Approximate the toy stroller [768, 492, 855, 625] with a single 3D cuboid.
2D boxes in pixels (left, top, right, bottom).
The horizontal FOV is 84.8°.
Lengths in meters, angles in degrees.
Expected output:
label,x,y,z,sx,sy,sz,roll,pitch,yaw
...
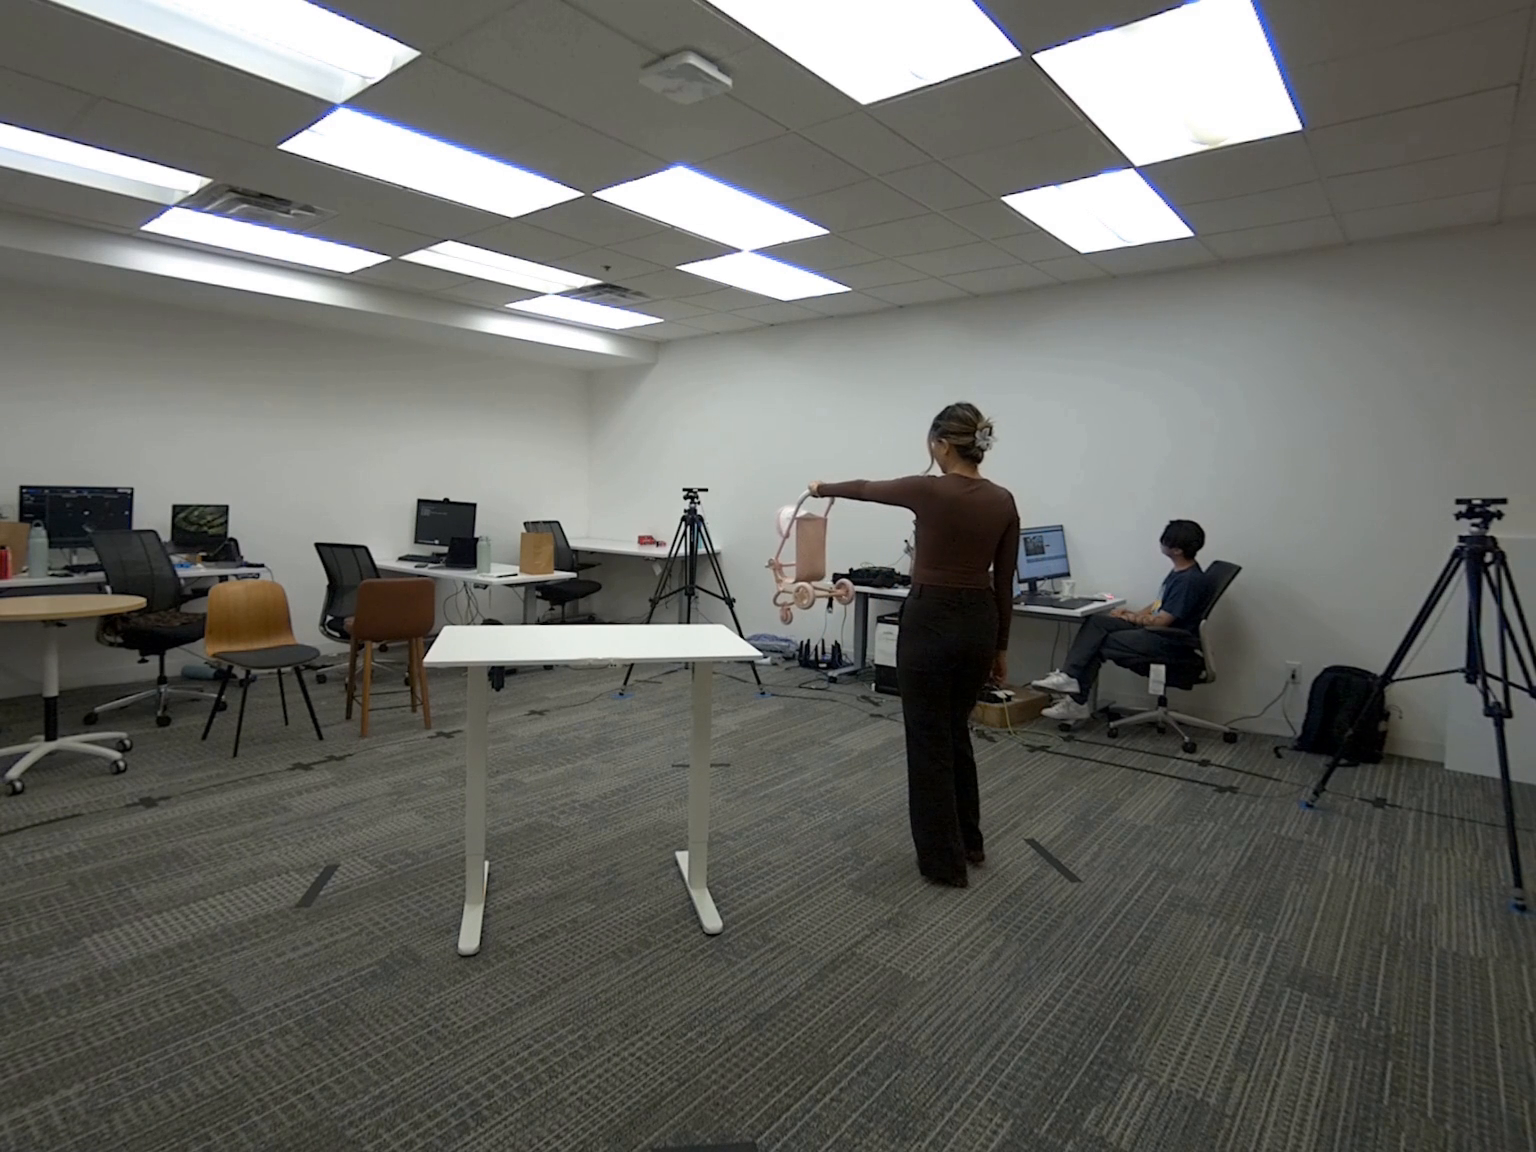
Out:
label,x,y,z,sx,sy,sz,roll,pitch,yaw
toy stroller,0.139,-0.068,3.593,0.273,0.538,0.349,-4,-6,-38
